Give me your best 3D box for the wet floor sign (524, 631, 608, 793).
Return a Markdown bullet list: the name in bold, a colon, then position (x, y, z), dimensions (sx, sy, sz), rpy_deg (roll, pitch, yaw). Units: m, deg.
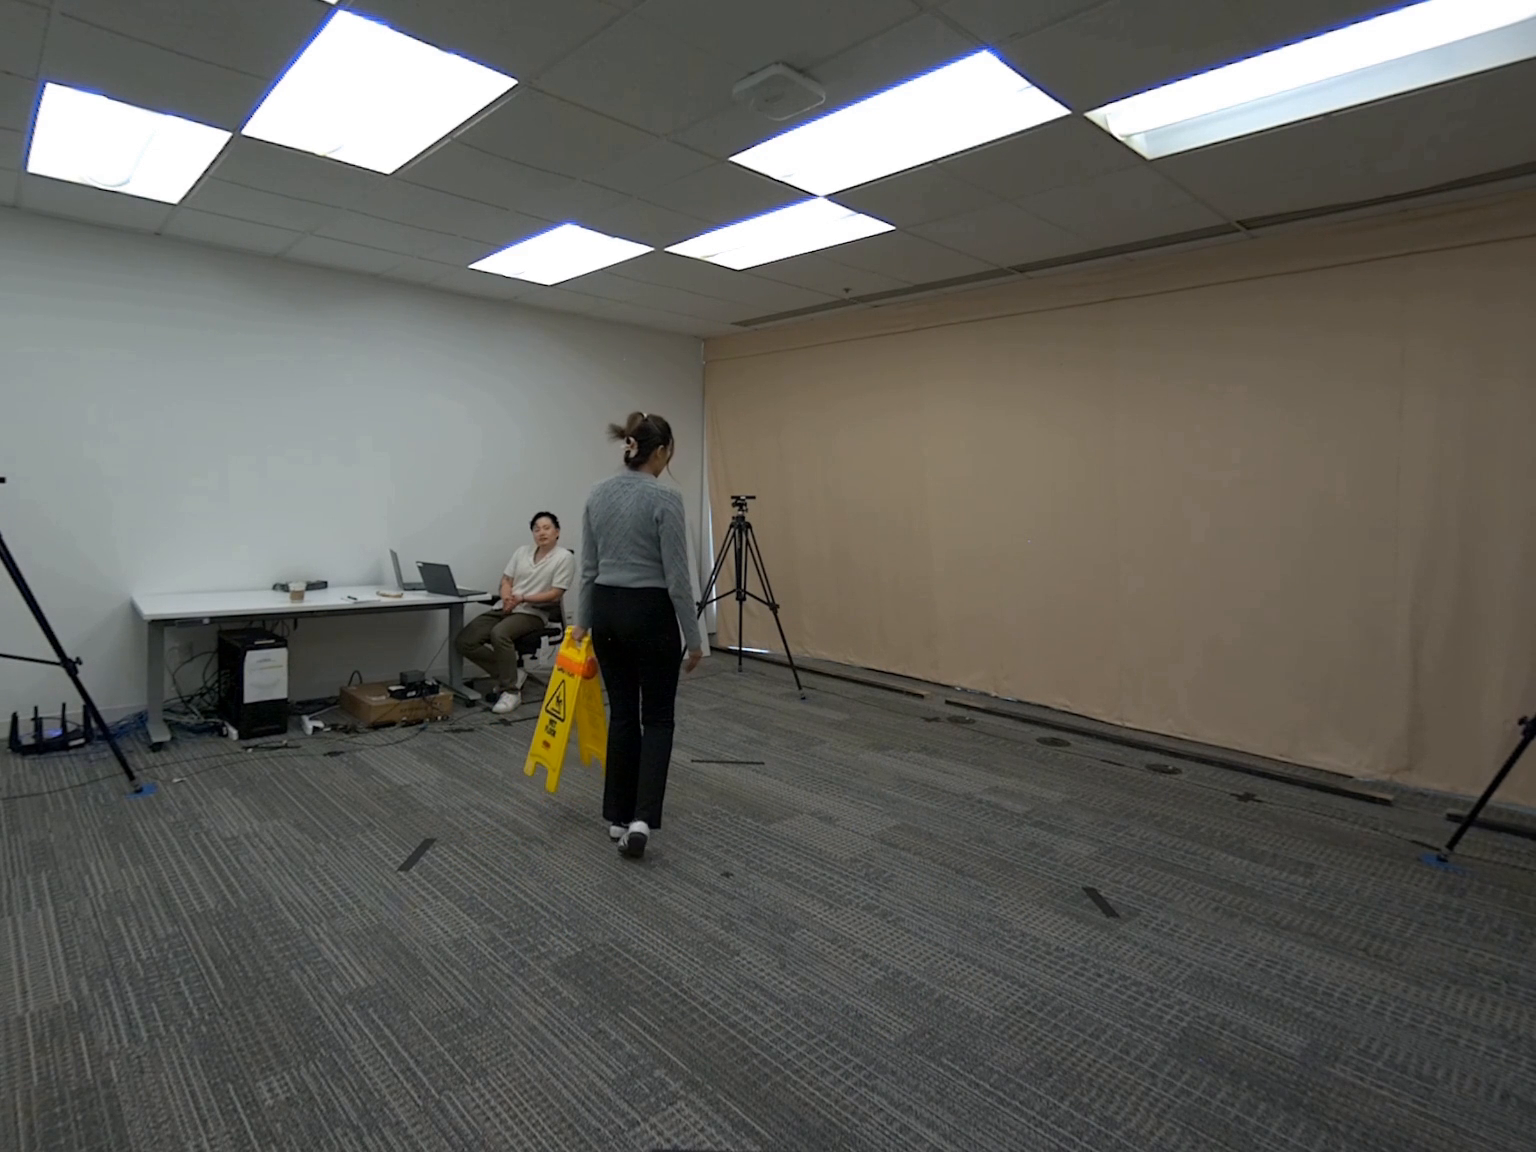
- **wet floor sign**: position (-0.834, 0.545, 3.599), dimensions (0.283, 0.644, 0.290), rpy_deg (1, 7, -41)
